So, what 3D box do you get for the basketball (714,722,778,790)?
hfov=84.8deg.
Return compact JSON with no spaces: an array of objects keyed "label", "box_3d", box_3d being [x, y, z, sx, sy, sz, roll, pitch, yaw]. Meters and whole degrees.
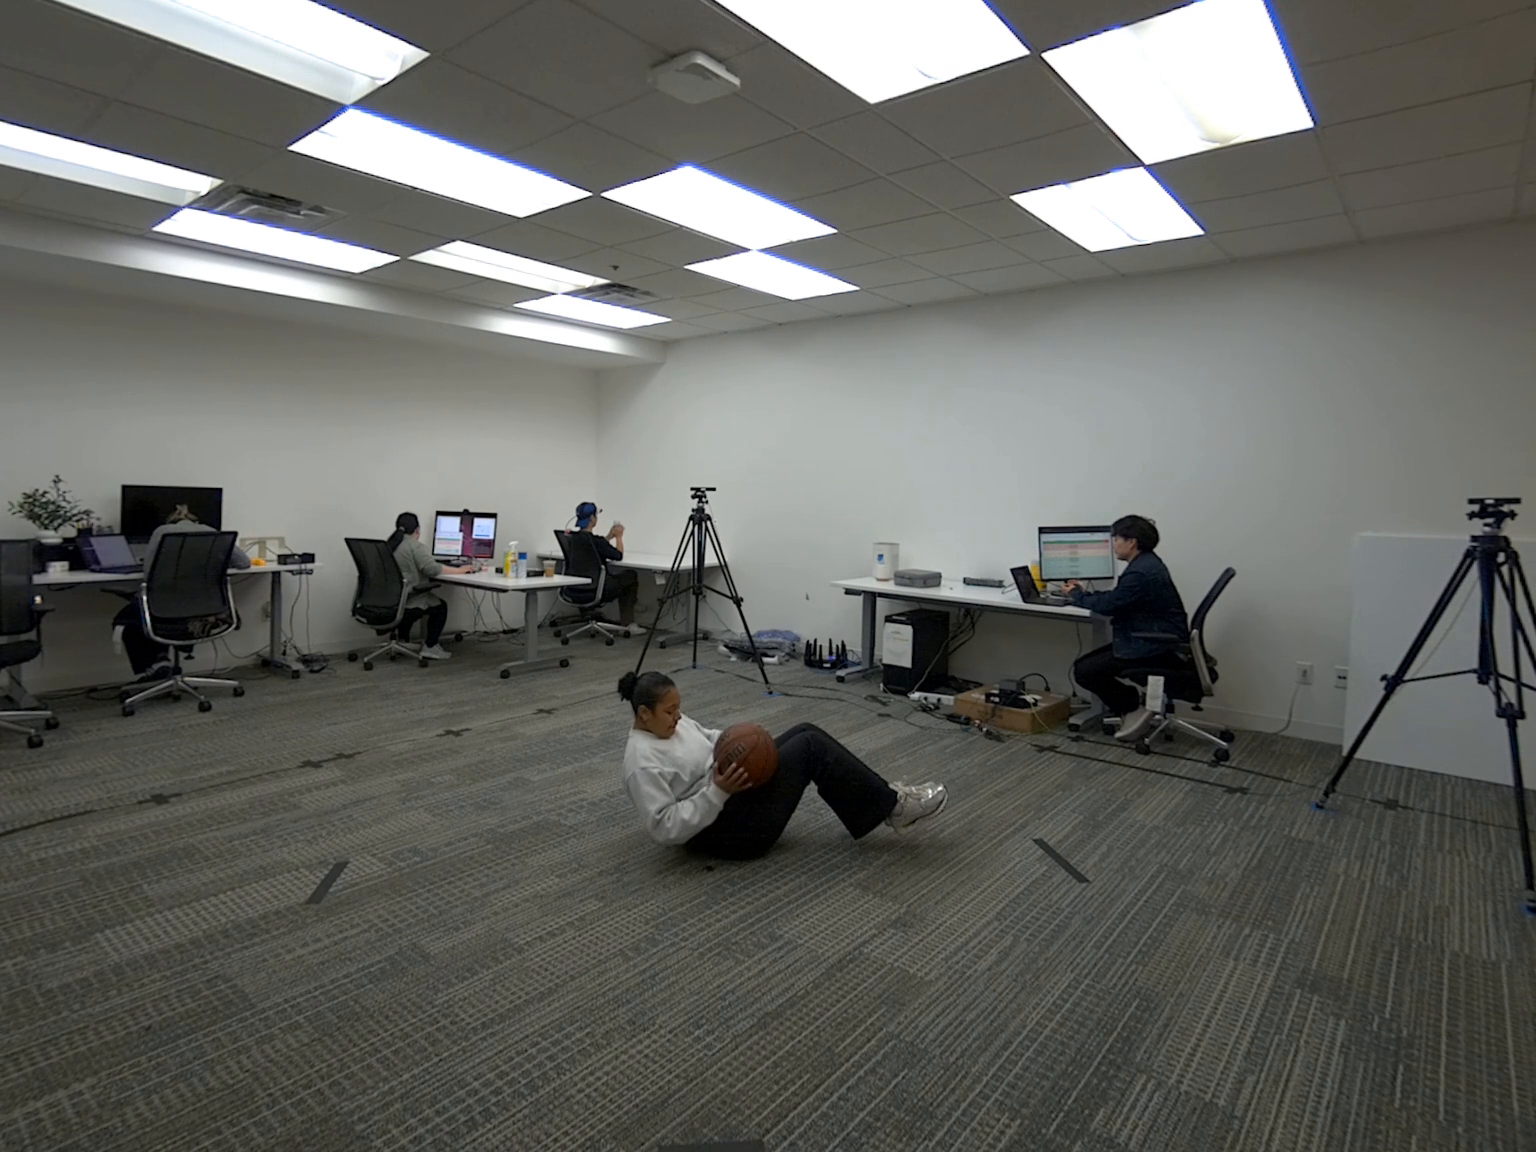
[{"label":"basketball","box_3d":[-0.111,0.671,3.139,0.235,0.235,0.237,1,4,-2]}]
